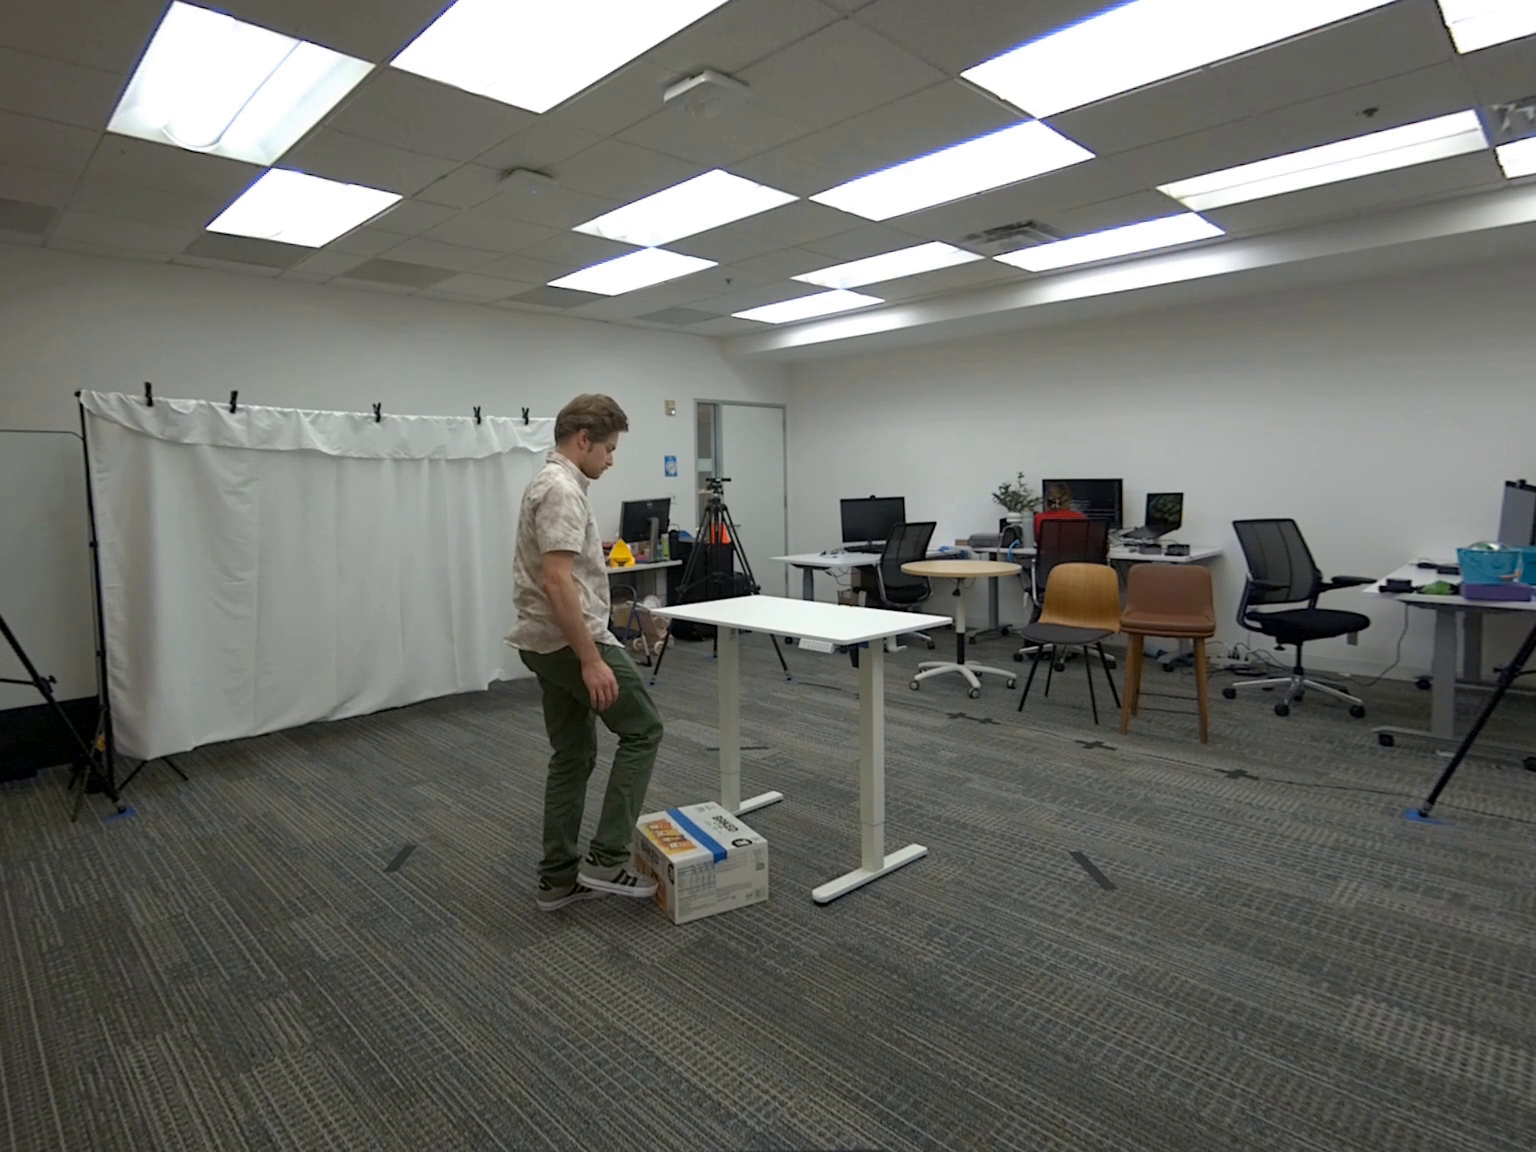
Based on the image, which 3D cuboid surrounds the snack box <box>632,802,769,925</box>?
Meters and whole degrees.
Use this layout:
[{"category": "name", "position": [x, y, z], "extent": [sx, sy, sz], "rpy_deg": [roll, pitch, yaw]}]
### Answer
[{"category": "snack box", "position": [-0.241, 0.966, 2.922], "extent": [0.333, 0.205, 0.416], "rpy_deg": [-4, 7, -28]}]
